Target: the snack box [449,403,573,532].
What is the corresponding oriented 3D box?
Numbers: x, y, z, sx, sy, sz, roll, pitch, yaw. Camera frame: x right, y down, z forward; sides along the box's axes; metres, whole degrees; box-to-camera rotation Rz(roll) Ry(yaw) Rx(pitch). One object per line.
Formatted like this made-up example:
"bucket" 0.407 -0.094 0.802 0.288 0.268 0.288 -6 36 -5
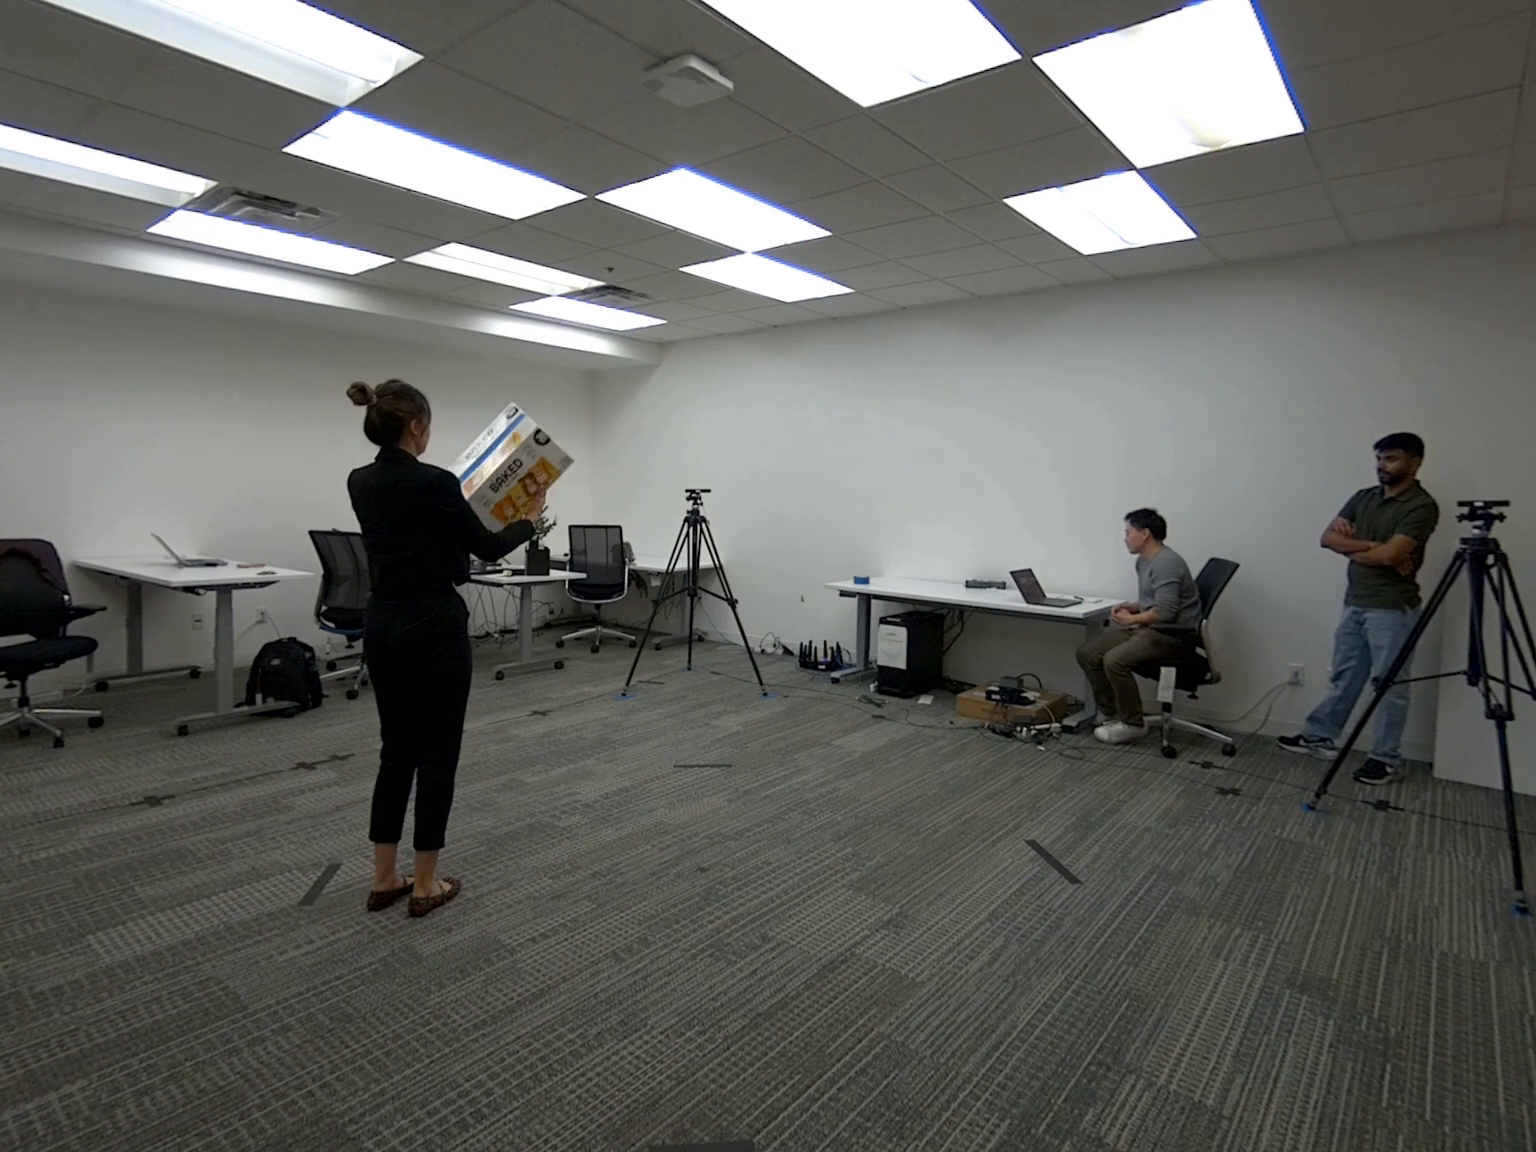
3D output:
"snack box" -0.991 -0.420 3.160 0.197 0.405 0.354 46 -6 -38
